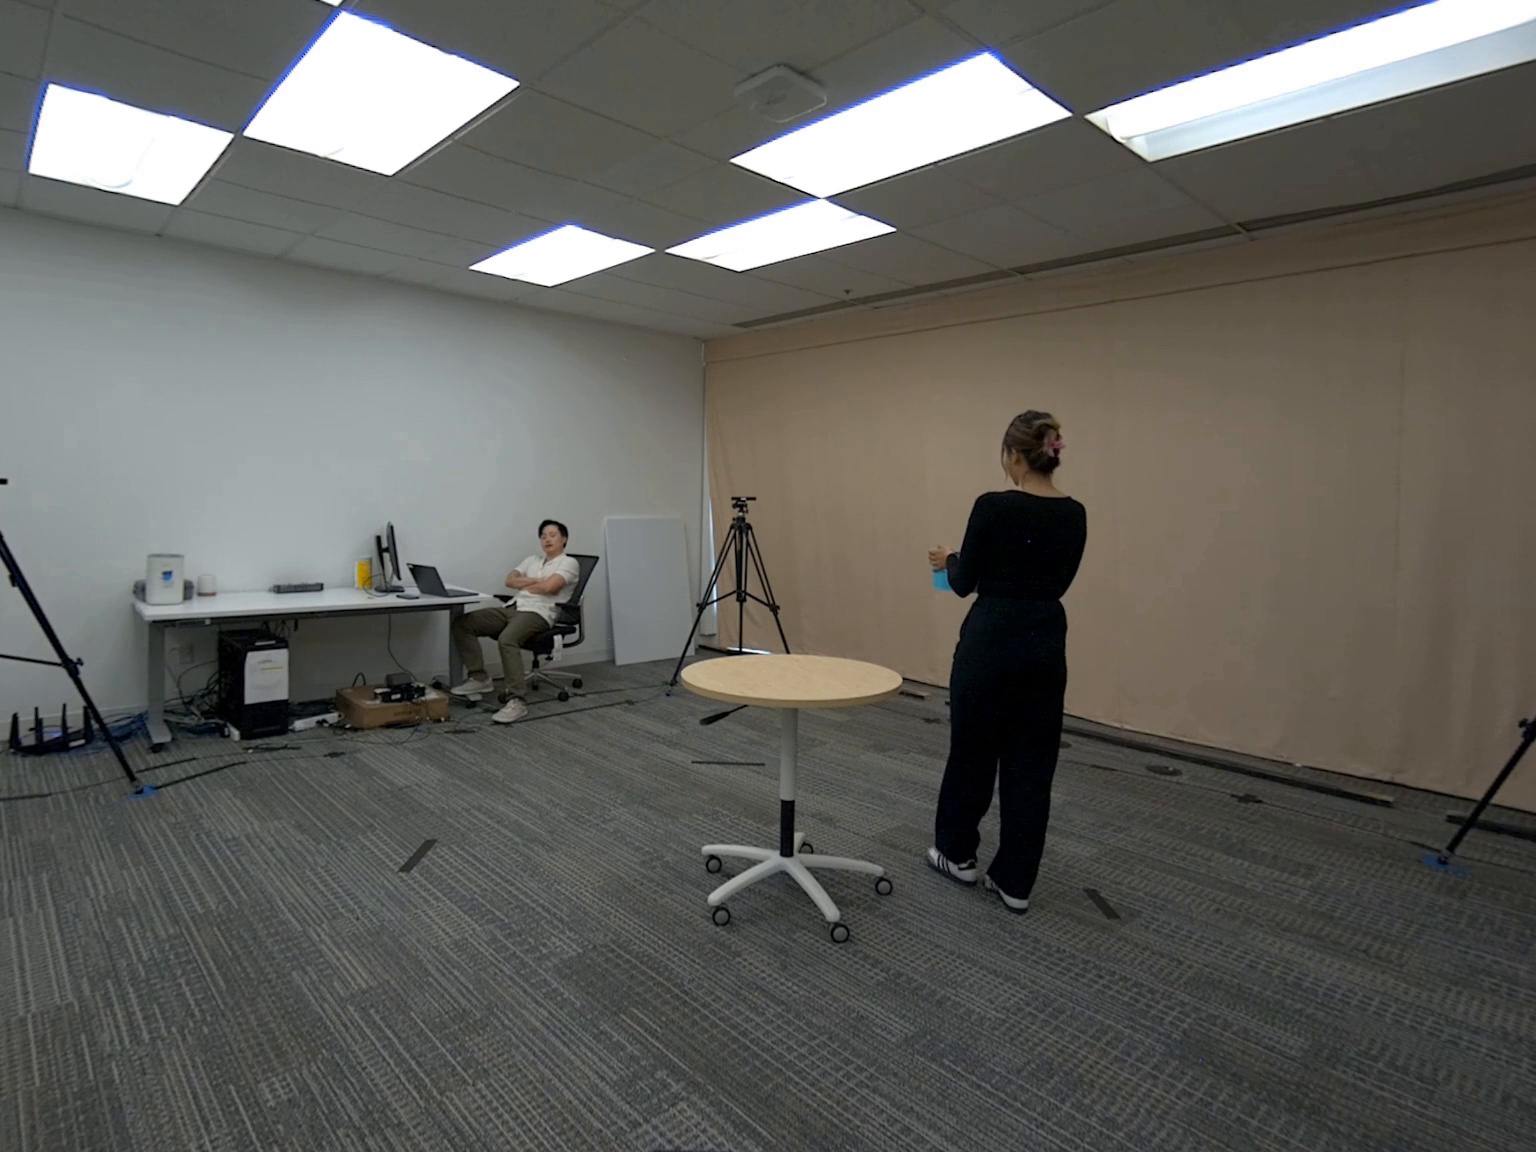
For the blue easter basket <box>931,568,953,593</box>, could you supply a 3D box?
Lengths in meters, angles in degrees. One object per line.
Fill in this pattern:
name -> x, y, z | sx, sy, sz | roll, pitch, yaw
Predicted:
blue easter basket -> 0.762, -0.013, 3.280 | 0.243, 0.155, 0.244 | 6, 3, -2
